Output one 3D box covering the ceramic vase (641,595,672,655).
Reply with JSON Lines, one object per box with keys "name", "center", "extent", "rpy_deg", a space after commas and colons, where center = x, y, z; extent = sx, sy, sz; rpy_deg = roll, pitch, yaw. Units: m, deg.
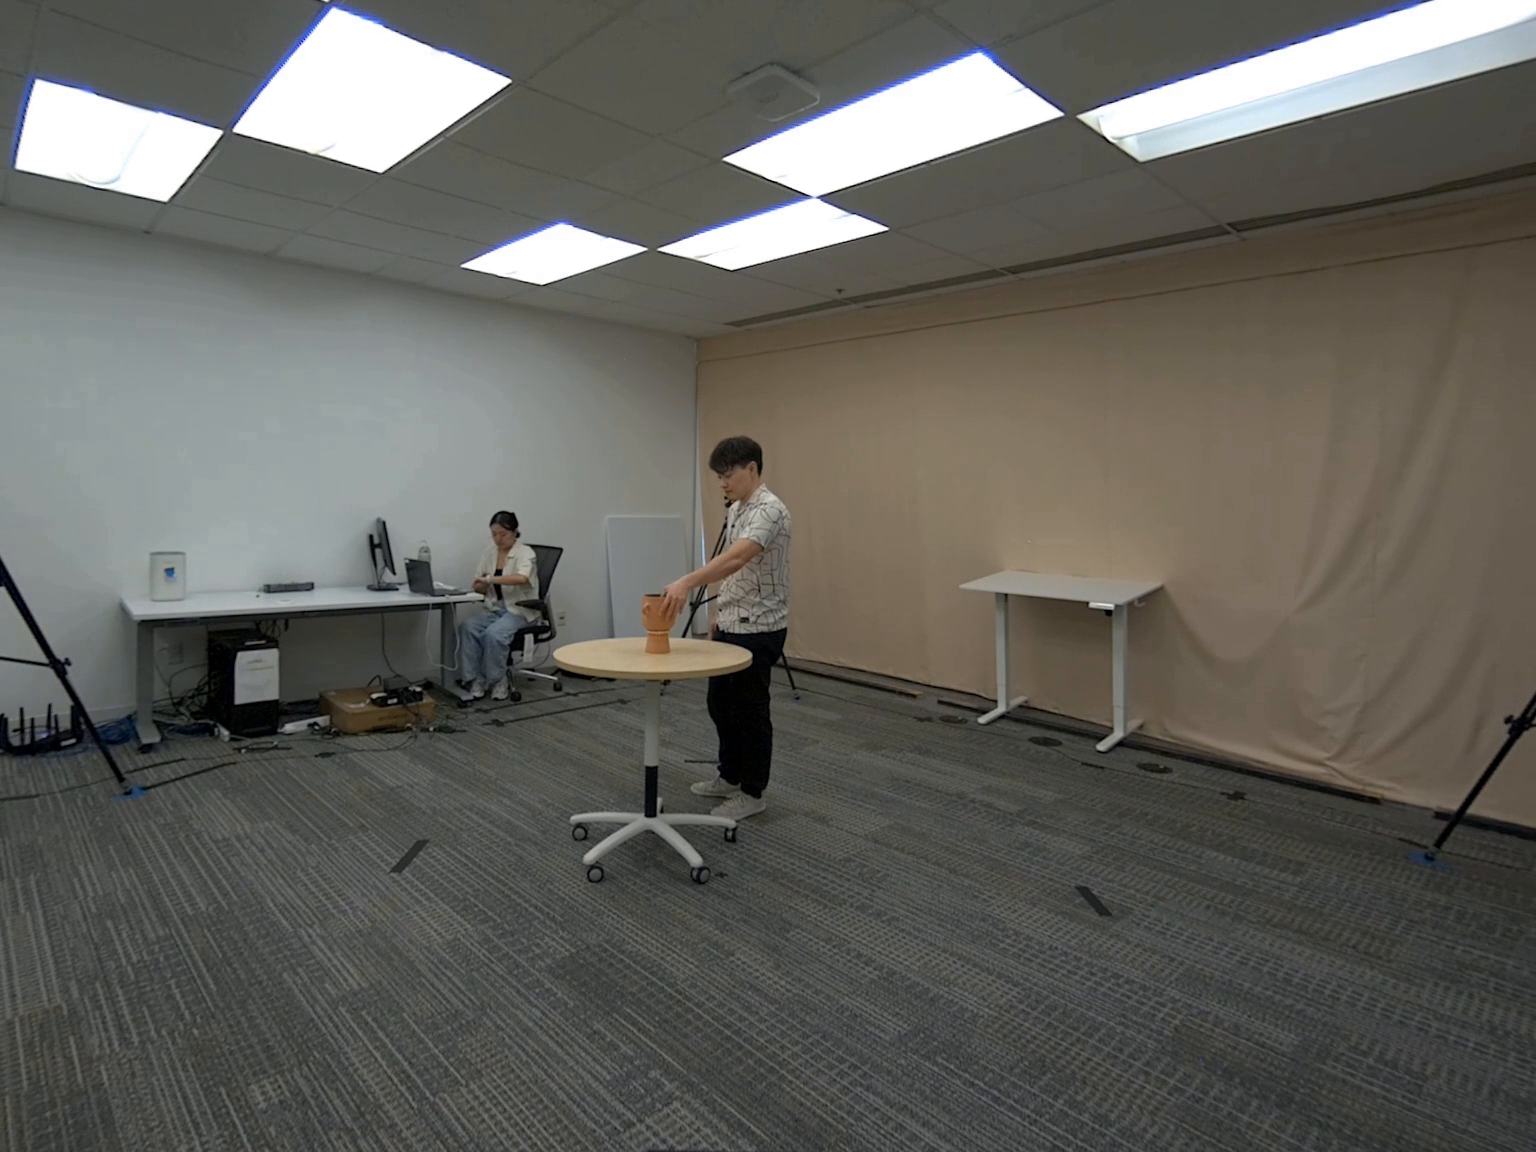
{"name": "ceramic vase", "center": [-0.437, 0.187, 3.288], "extent": [0.156, 0.219, 0.137], "rpy_deg": [1, 2, -22]}
